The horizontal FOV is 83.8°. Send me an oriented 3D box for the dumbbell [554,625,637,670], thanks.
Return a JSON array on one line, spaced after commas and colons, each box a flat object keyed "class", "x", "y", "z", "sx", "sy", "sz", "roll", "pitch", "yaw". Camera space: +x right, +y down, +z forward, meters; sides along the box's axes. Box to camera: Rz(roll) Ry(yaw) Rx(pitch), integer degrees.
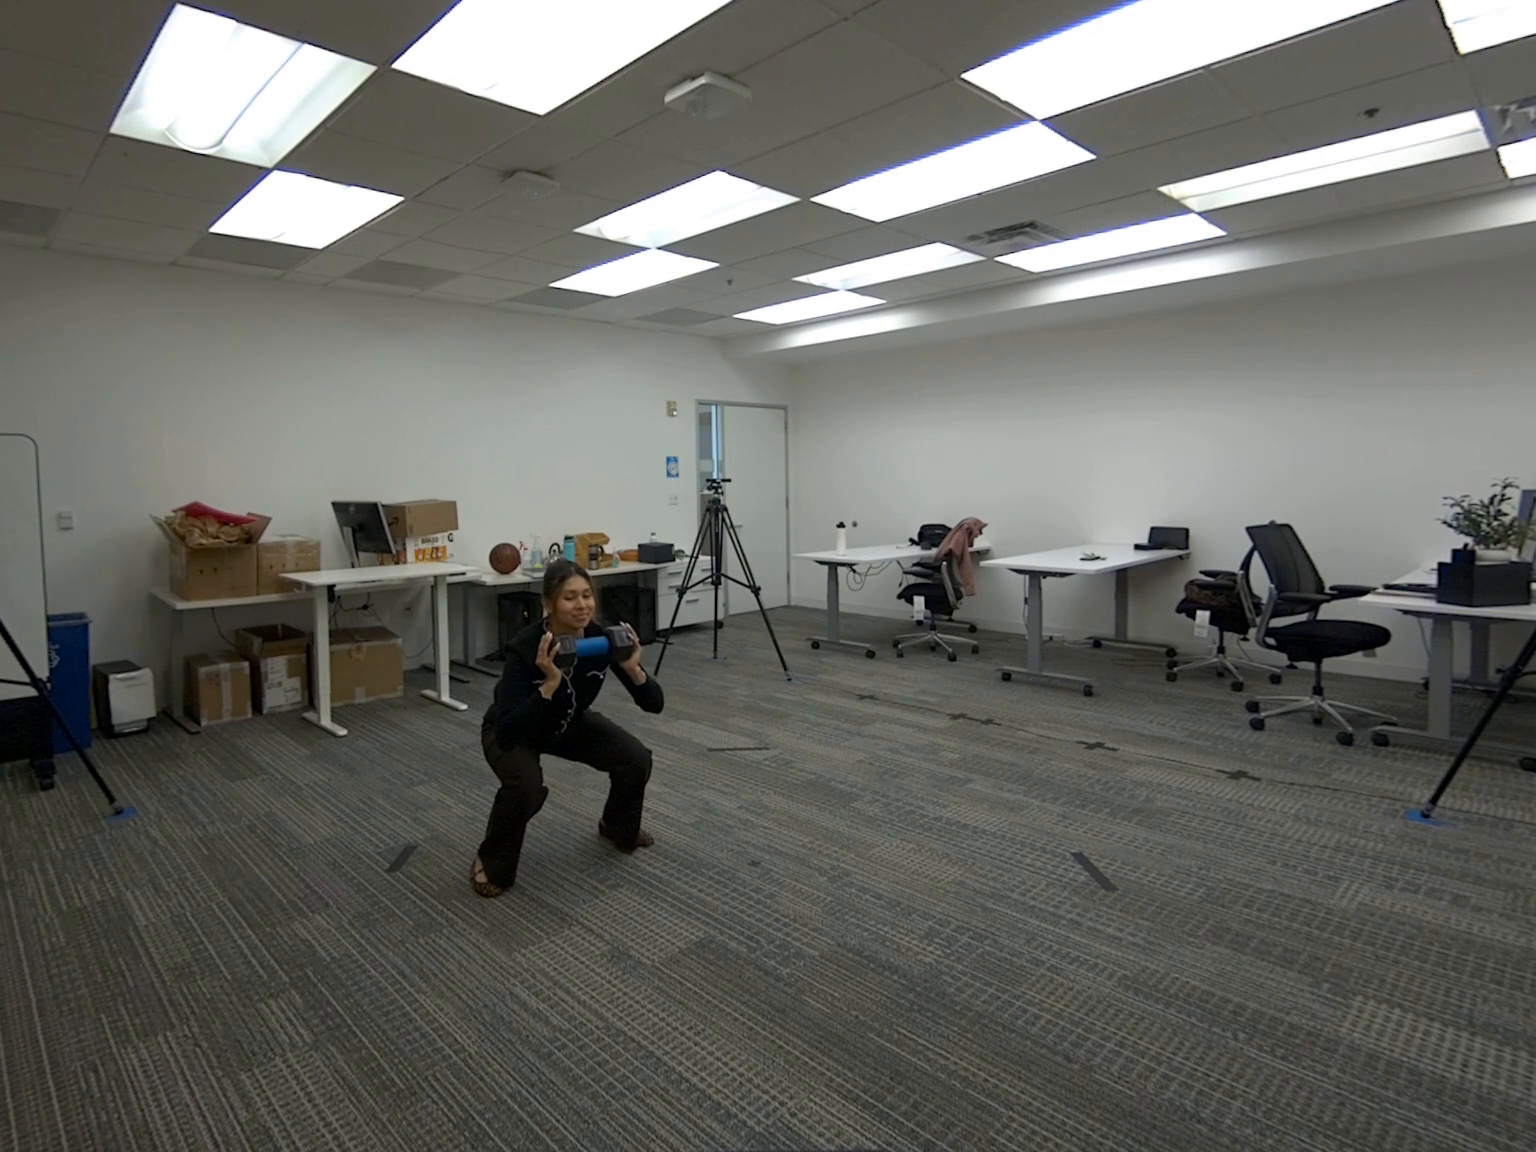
[{"class": "dumbbell", "x": -0.610, "y": 0.232, "z": 2.861, "sx": 0.286, "sy": 0.126, "sz": 0.109, "roll": -3, "pitch": -28, "yaw": -36}]
